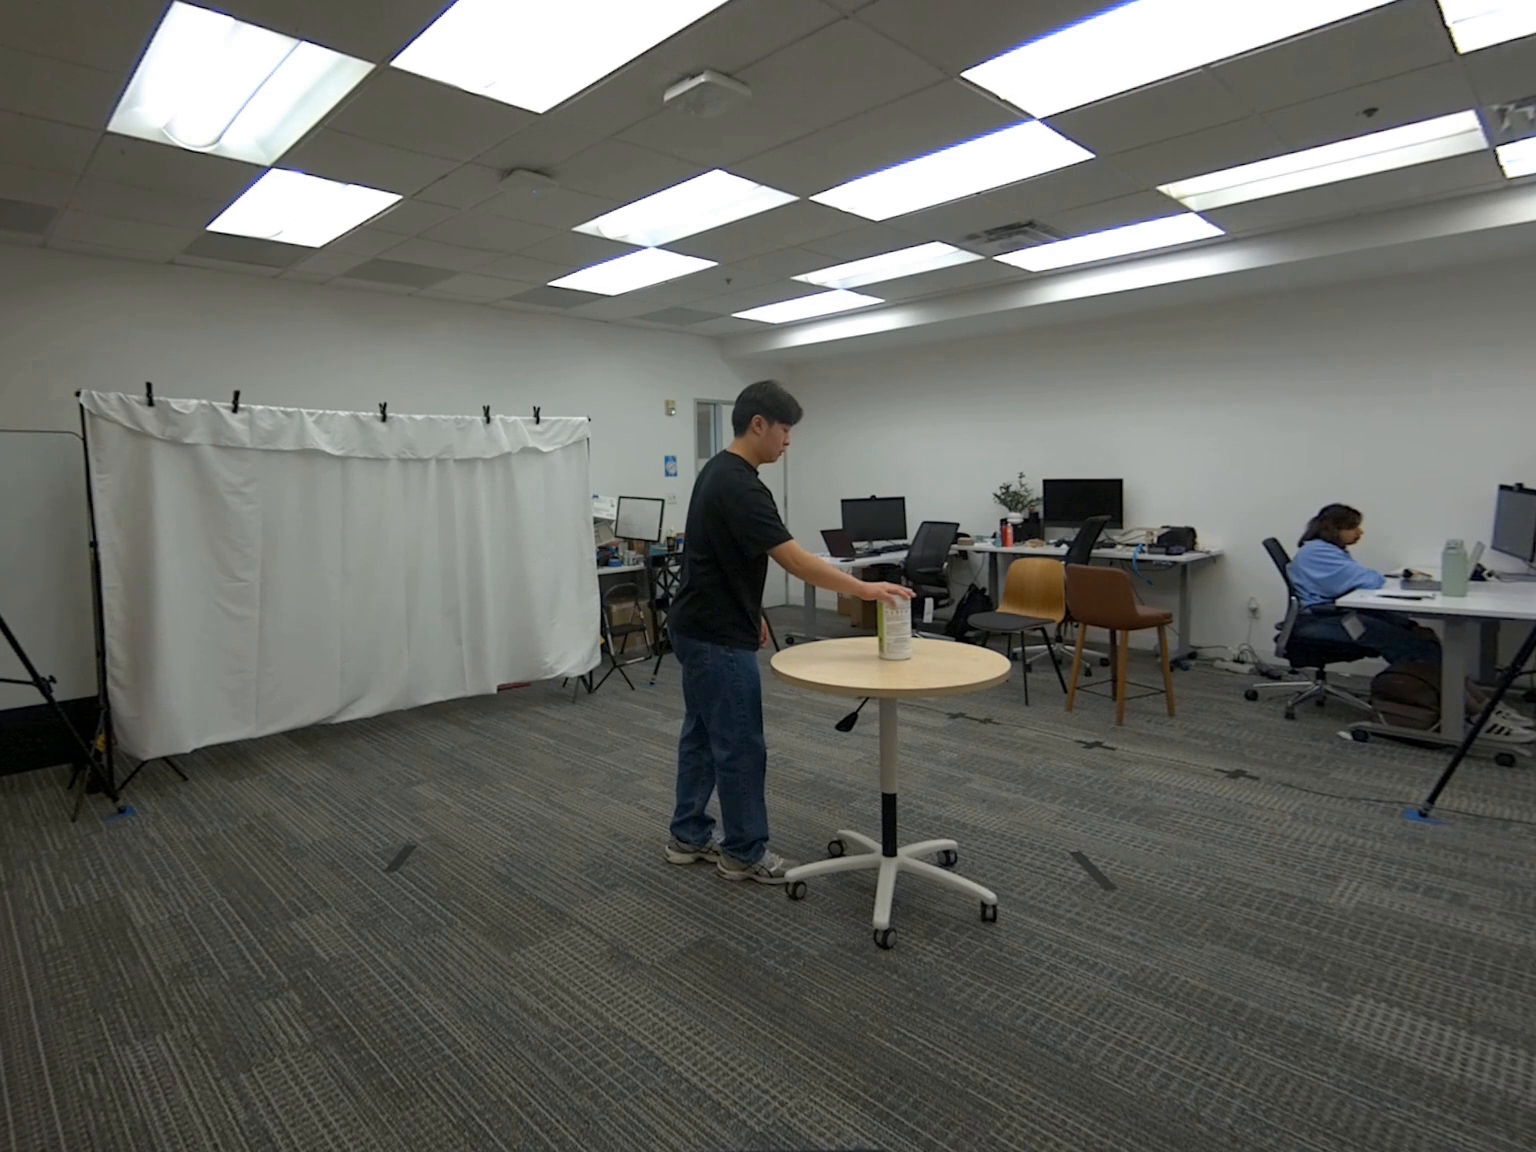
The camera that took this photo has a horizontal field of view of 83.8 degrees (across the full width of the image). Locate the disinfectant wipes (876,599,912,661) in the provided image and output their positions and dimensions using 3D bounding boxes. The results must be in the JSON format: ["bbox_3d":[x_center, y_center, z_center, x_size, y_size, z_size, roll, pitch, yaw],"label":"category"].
[{"bbox_3d":[0.419,0.163,2.820,0.118,0.217,0.118,-3,2,-2],"label":"disinfectant wipes"}]
